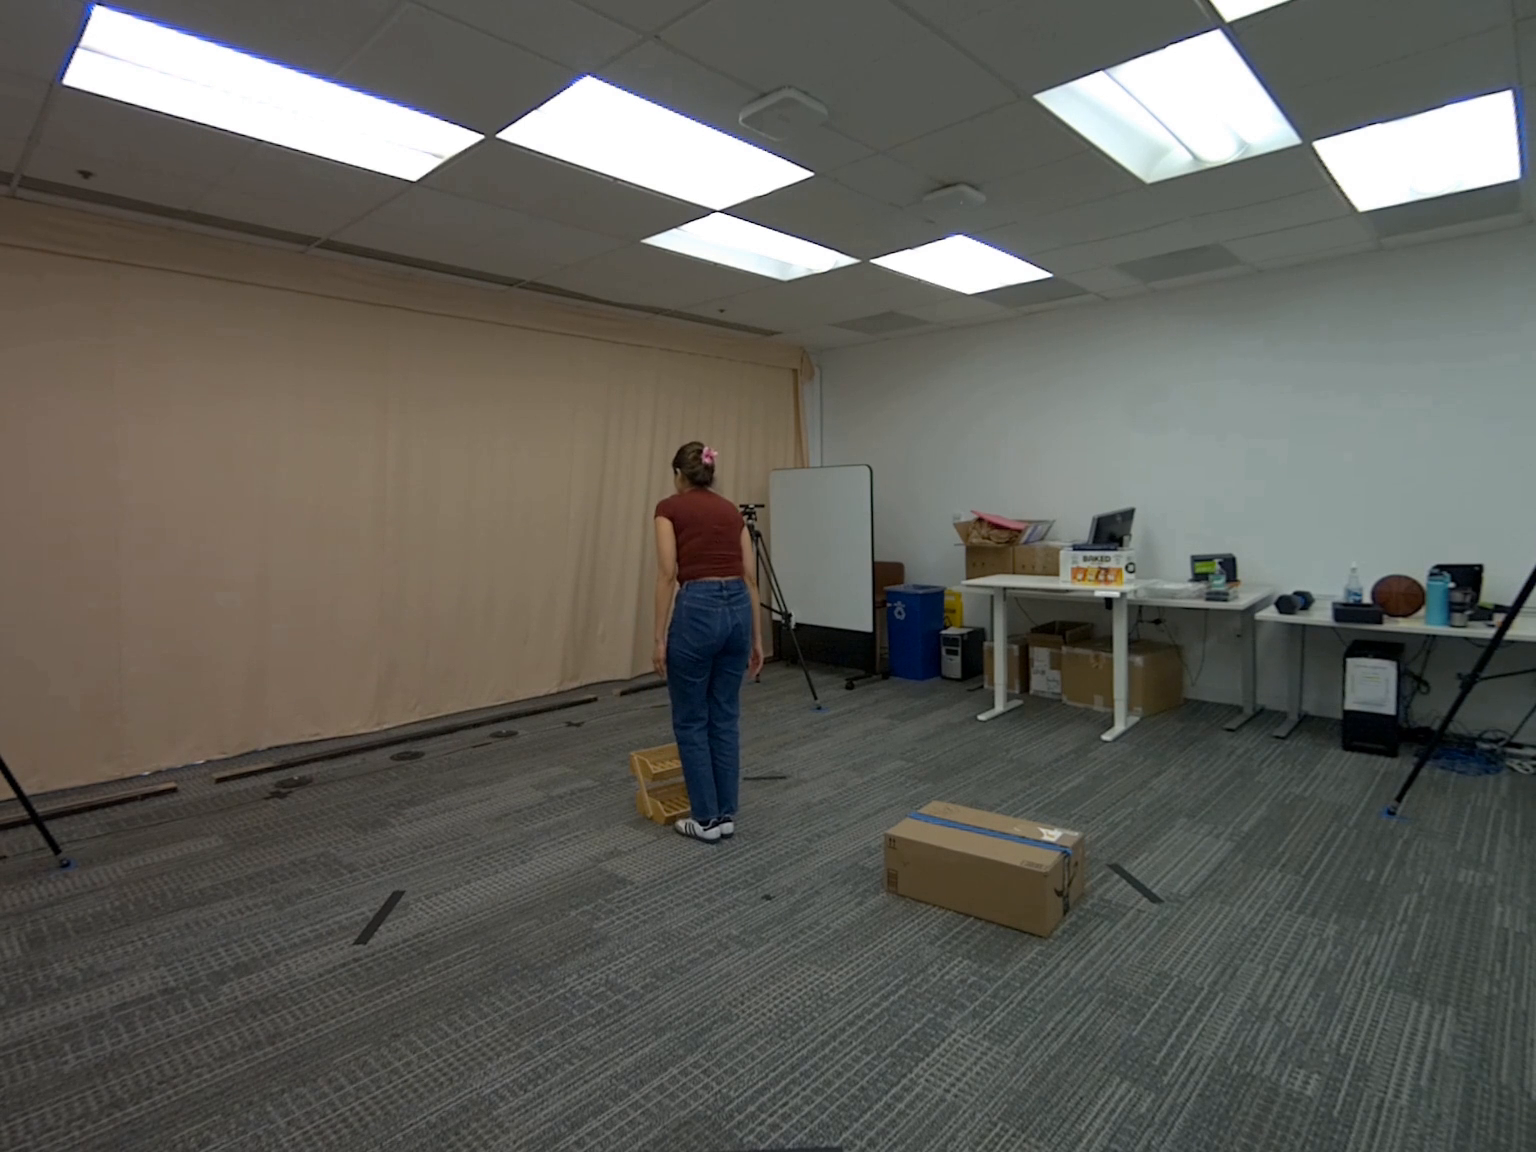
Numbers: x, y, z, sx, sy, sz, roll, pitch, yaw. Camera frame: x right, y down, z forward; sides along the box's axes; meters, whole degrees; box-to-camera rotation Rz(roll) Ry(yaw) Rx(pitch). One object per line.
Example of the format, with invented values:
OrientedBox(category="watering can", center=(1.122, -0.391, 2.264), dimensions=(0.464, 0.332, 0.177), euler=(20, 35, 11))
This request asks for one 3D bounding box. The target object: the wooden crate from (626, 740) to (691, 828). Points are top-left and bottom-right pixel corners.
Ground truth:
OrientedBox(category="wooden crate", center=(-0.427, 0.934, 3.872), dimensions=(0.315, 0.273, 0.311), euler=(-4, 4, -38))
